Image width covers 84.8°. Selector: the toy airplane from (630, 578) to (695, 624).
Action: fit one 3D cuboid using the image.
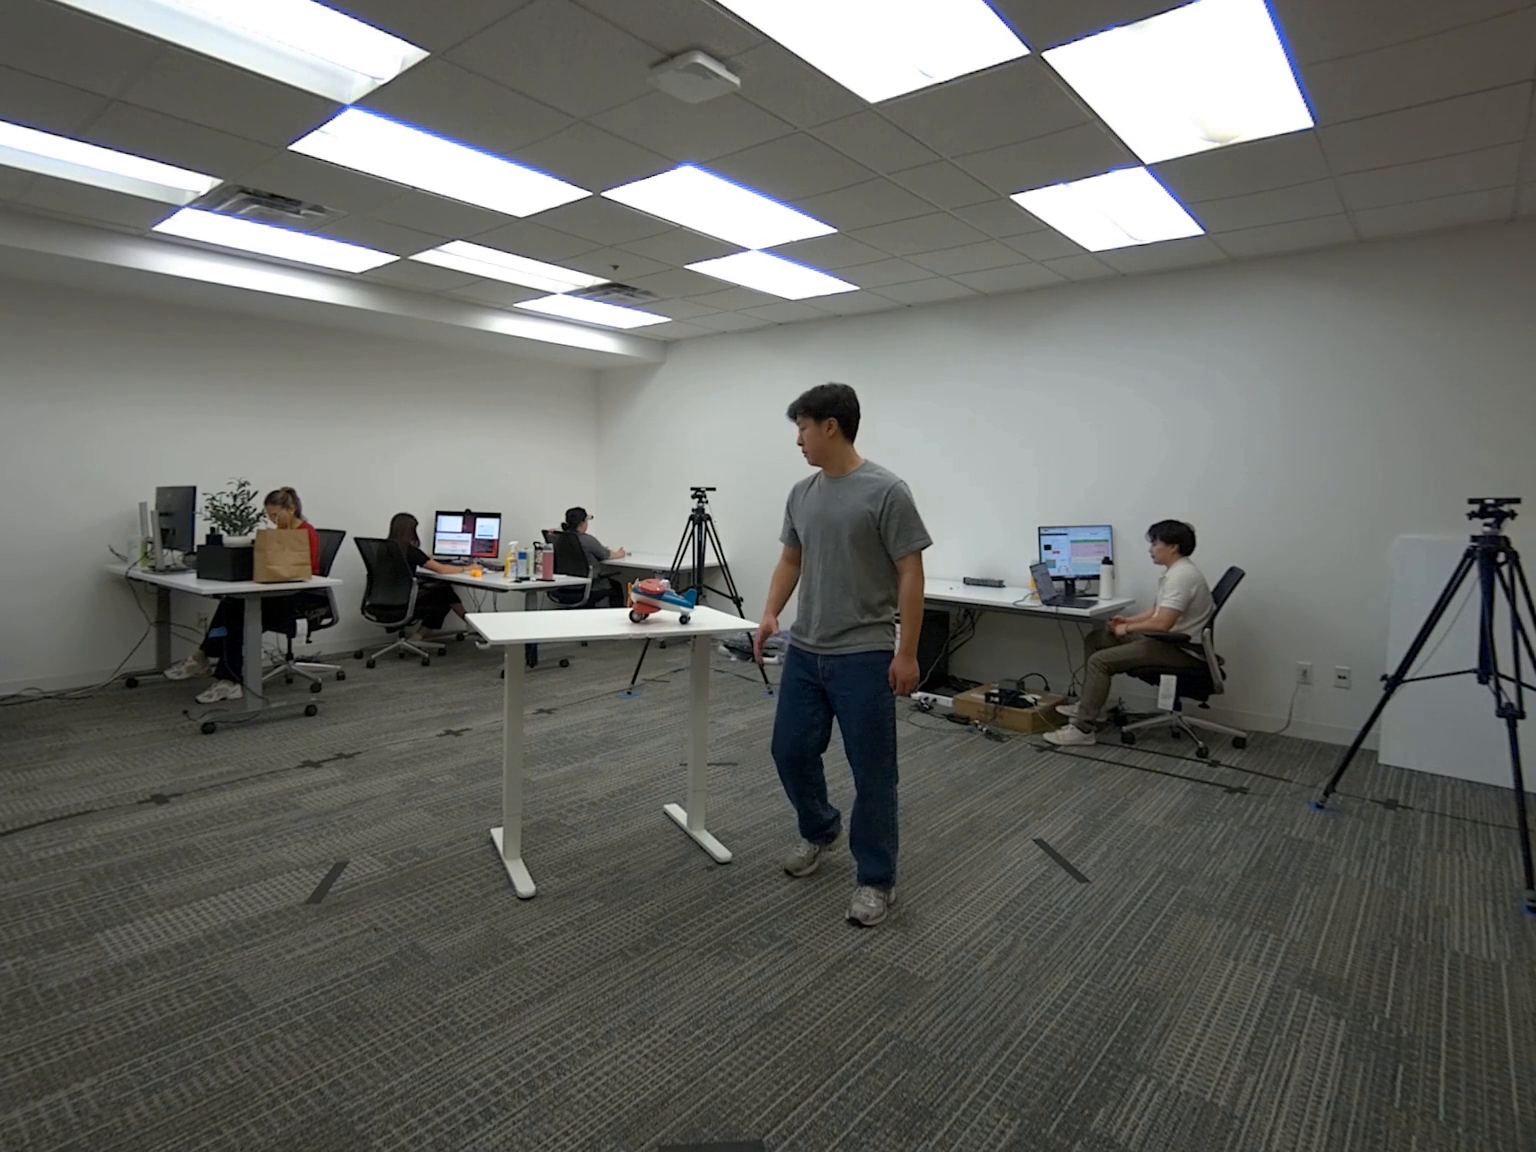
[{"bbox_3d":[-0.413,0.090,3.220,0.254,0.156,0.257,-2,6,-22],"label":"toy airplane"}]
